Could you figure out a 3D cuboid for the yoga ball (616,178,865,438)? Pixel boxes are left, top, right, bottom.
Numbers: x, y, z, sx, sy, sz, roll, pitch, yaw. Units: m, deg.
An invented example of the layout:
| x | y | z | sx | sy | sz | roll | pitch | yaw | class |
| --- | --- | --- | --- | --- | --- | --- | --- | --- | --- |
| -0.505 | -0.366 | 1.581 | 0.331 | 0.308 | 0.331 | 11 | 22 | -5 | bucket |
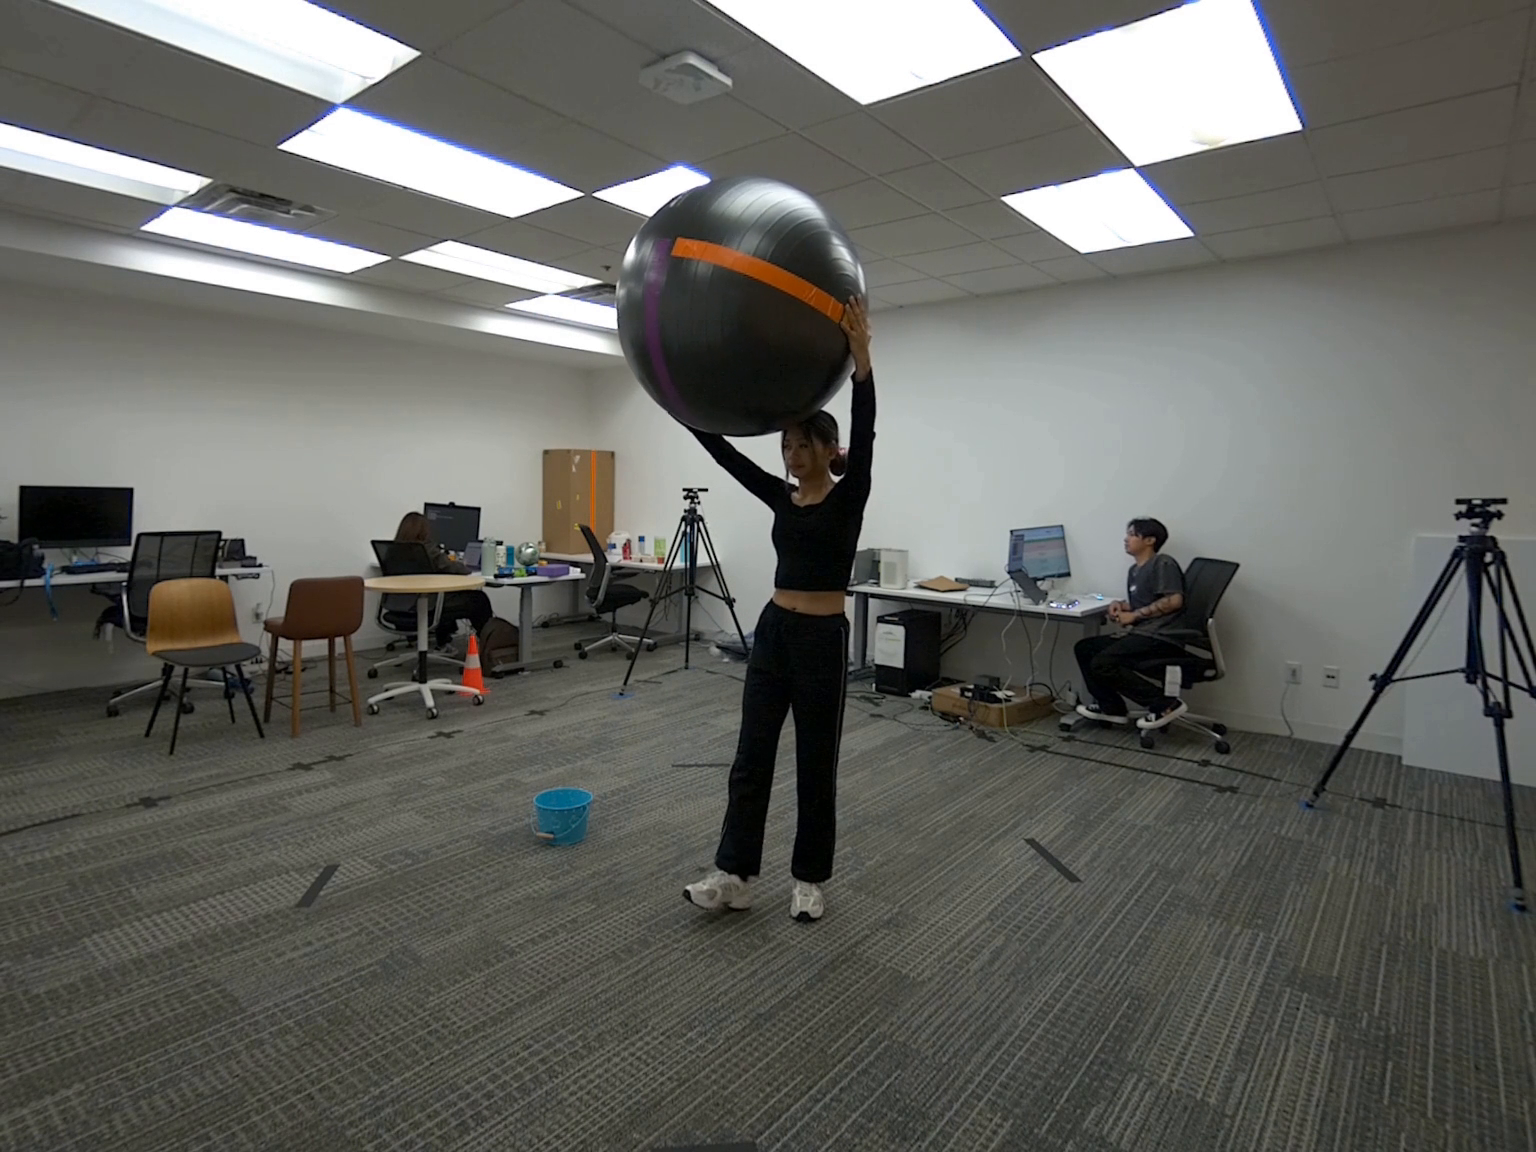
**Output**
| x | y | z | sx | sy | sz | roll | pitch | yaw | class |
| --- | --- | --- | --- | --- | --- | --- | --- | --- | --- |
| -0.090 | -0.795 | 2.560 | 0.757 | 0.755 | 0.762 | 1 | 4 | -2 | yoga ball |
